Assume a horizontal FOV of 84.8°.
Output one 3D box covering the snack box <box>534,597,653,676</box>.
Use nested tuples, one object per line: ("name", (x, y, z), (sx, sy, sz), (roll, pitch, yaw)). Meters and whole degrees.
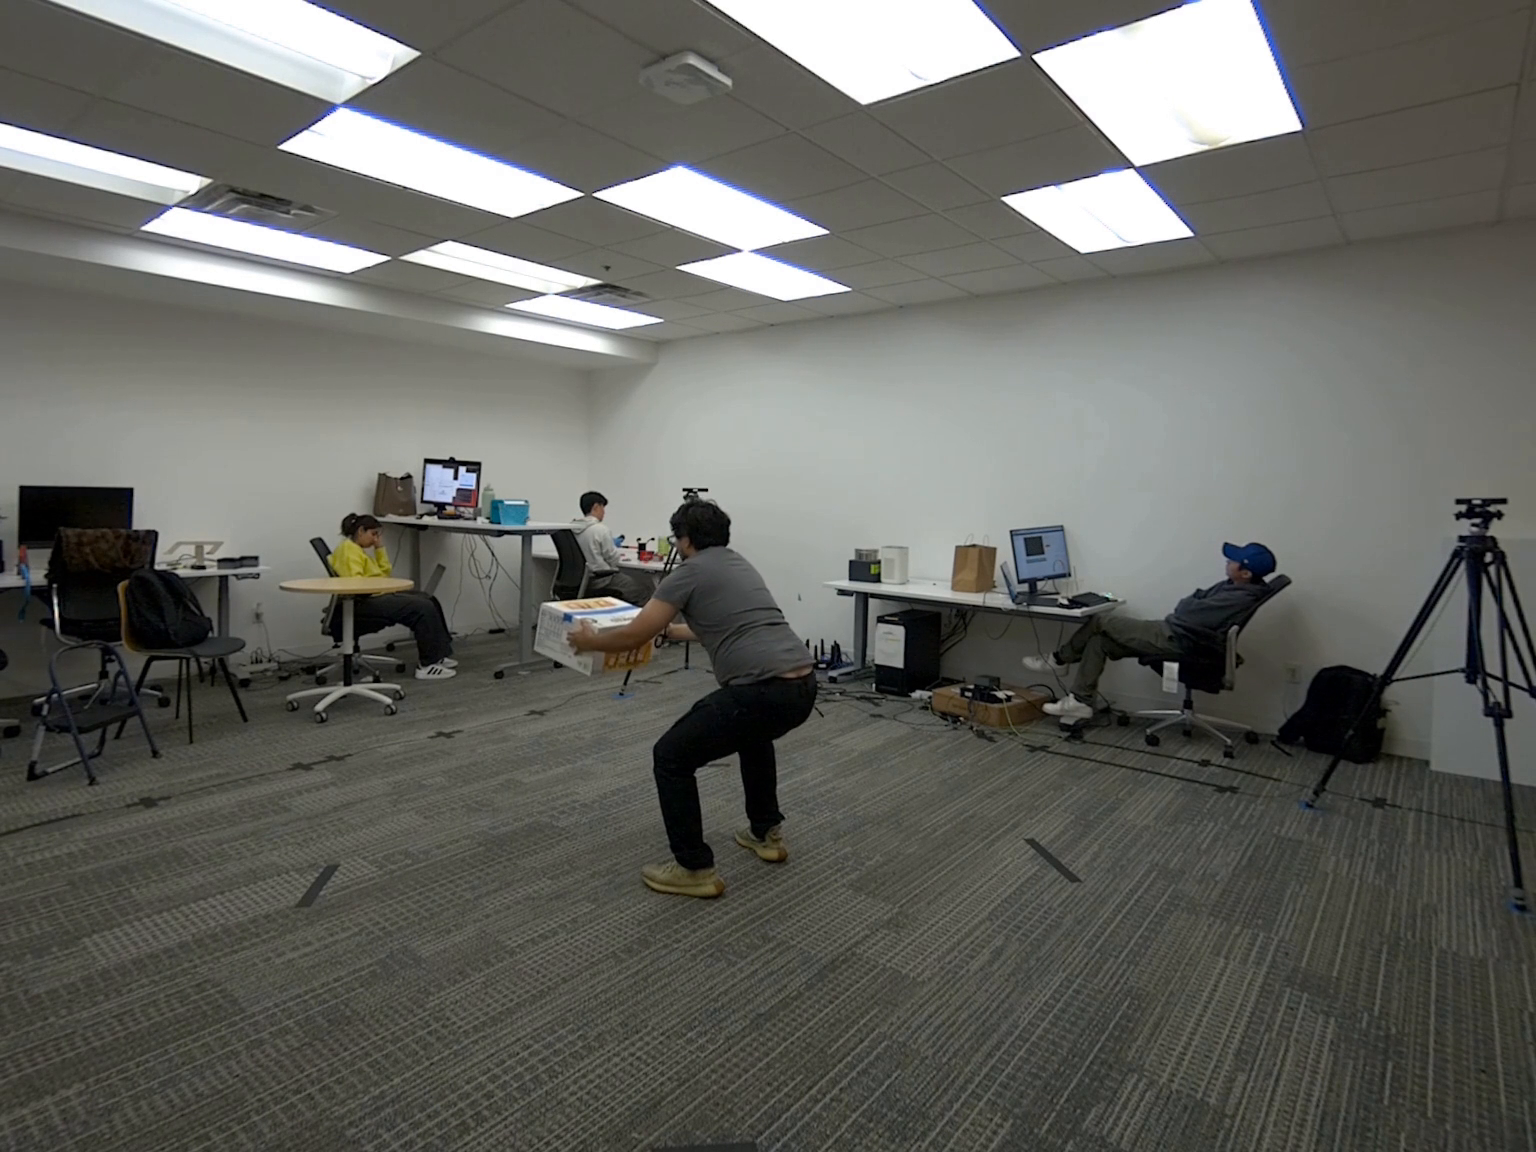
("snack box", (-0.706, 0.240, 3.522), (0.353, 0.204, 0.393), (16, 11, 33))
